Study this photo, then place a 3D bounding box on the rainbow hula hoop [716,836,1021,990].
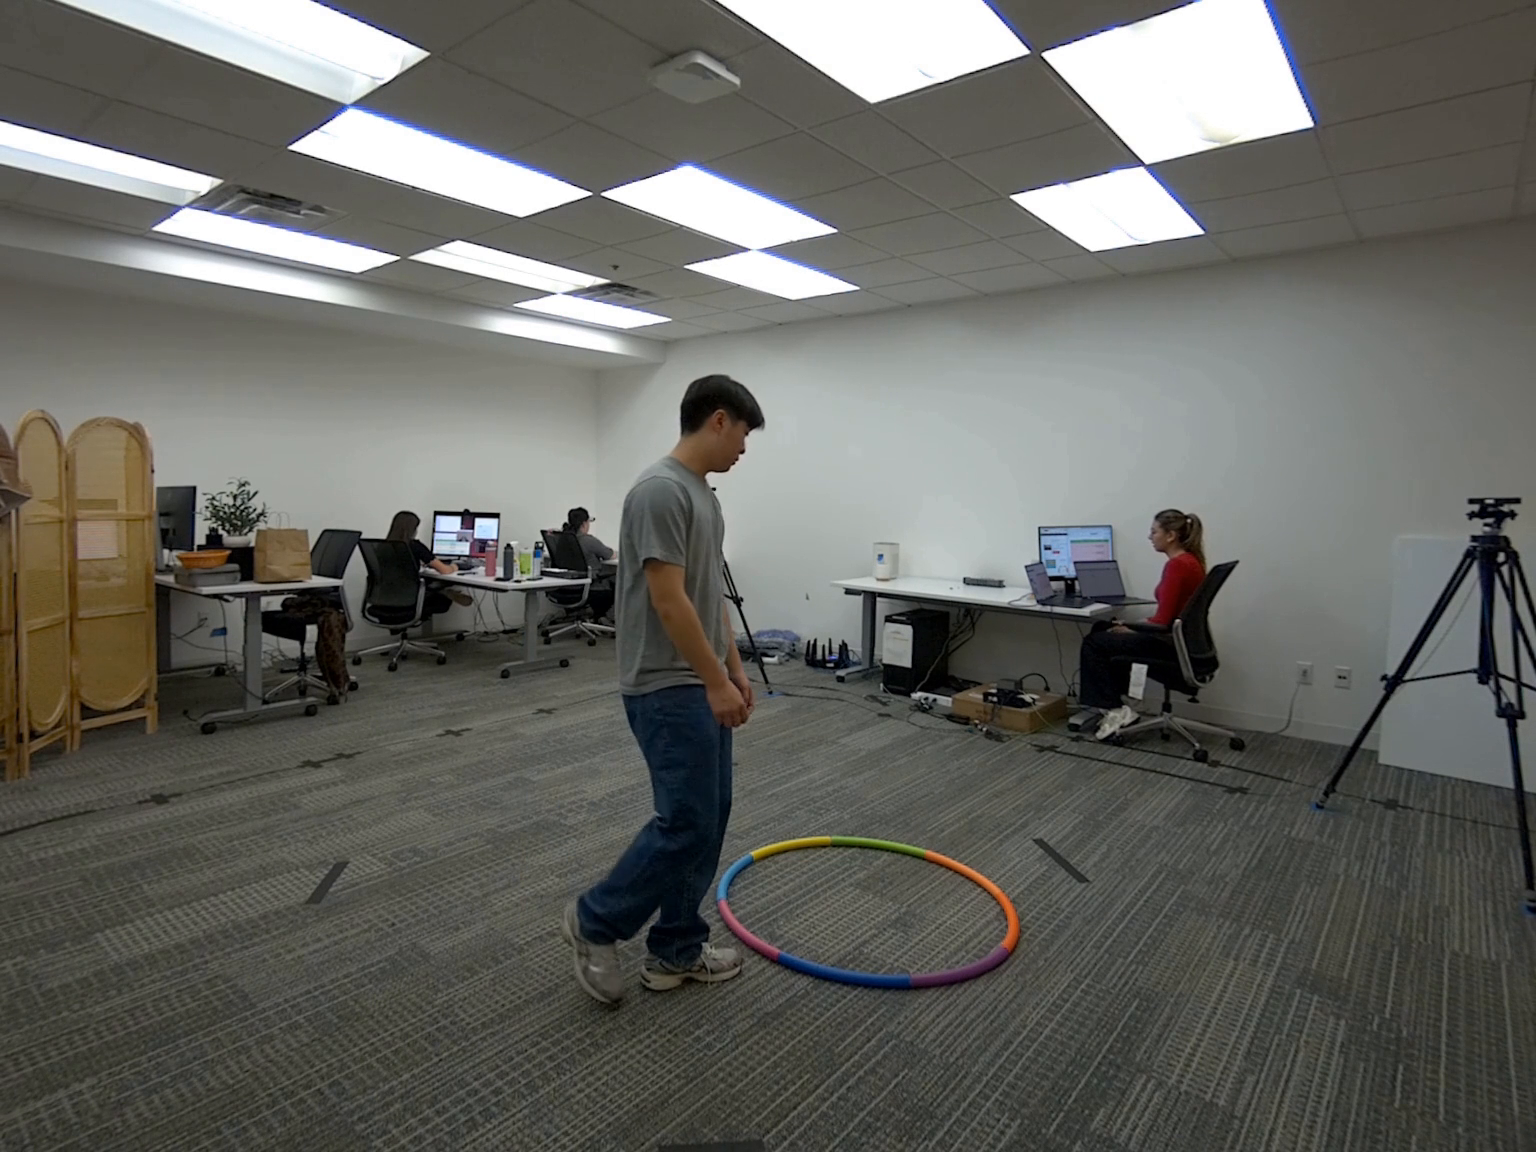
[{"bbox_3d":[0.312,1.075,2.857,0.978,0.035,0.984,1,6,-2],"label":"rainbow hula hoop"}]
